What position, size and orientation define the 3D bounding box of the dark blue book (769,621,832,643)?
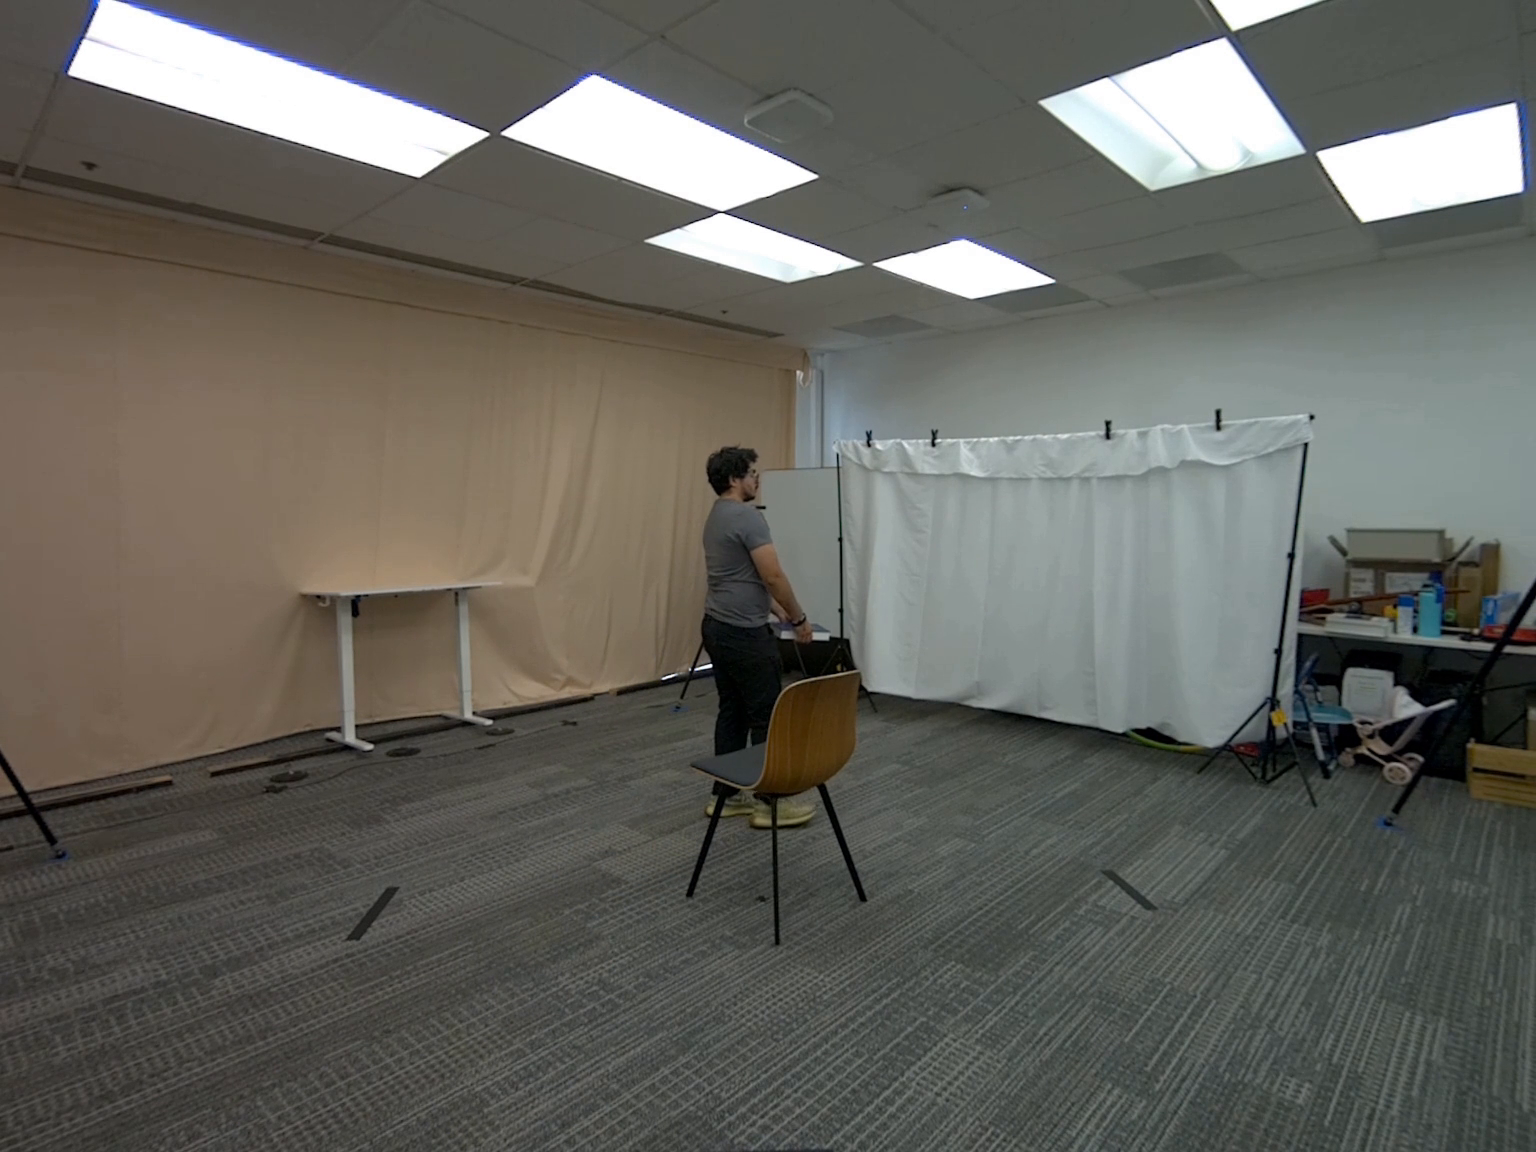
[{"bbox_3d":[0.141,0.258,3.890,0.241,0.045,0.167,2,10,-18],"label":"dark blue book"}]
